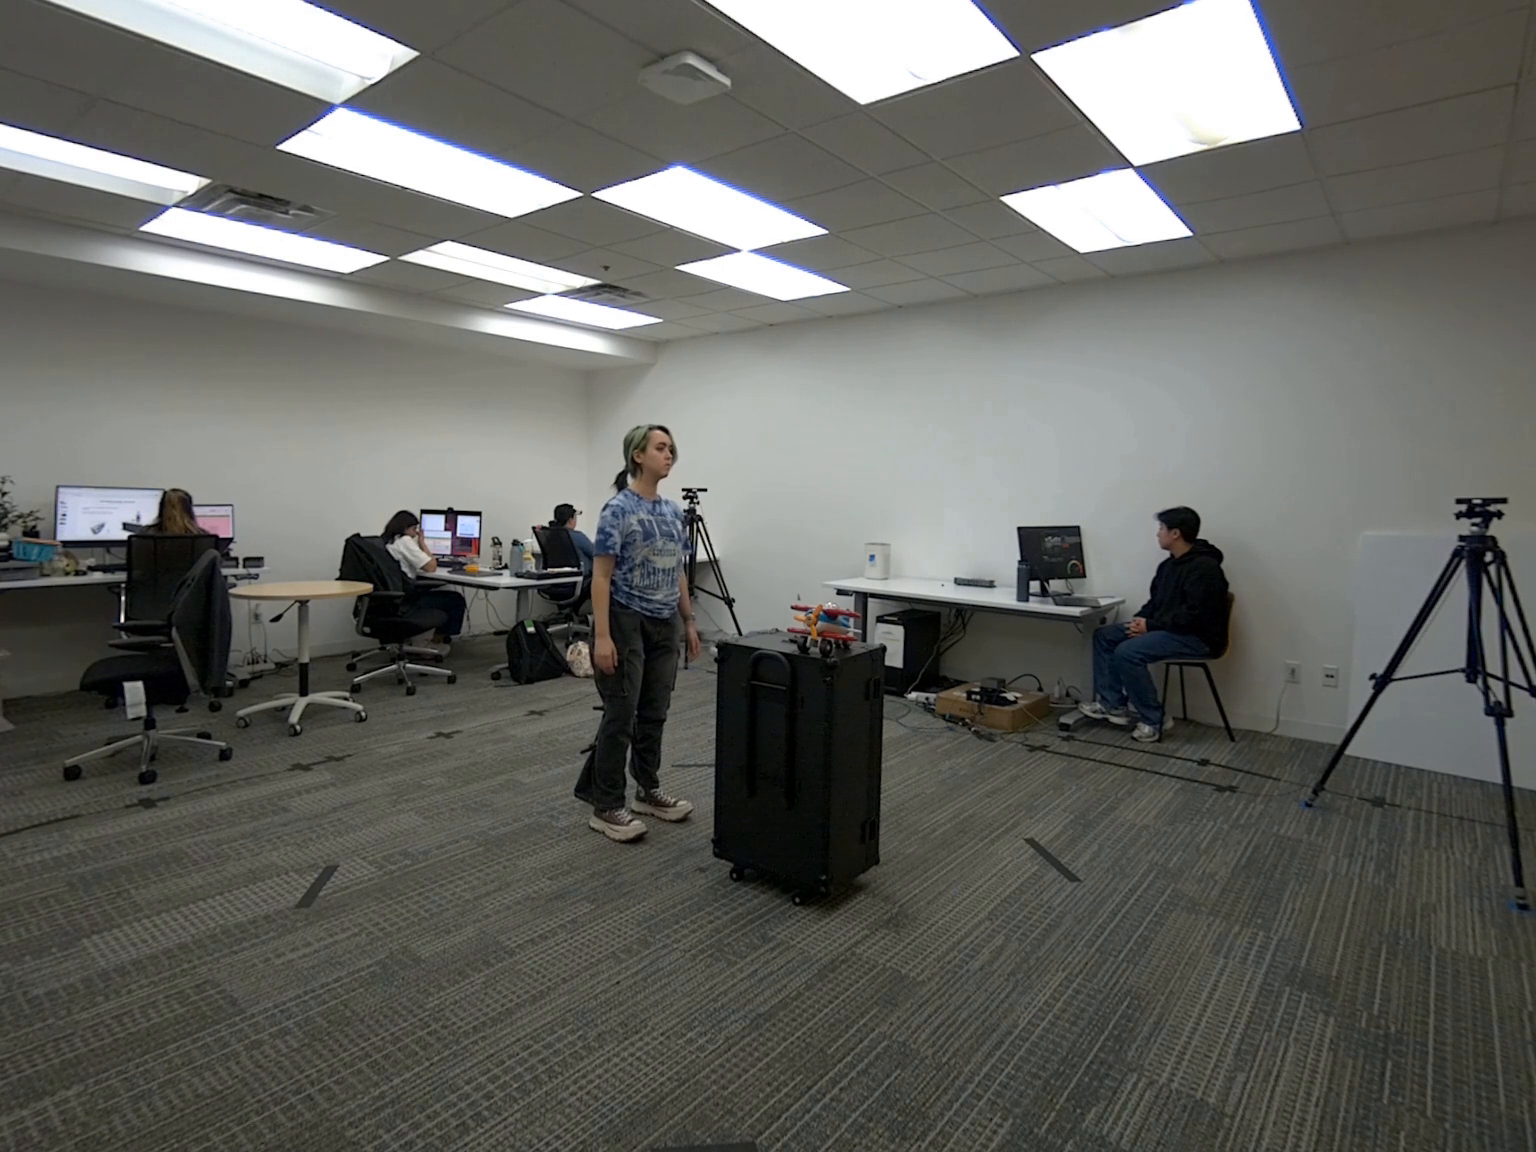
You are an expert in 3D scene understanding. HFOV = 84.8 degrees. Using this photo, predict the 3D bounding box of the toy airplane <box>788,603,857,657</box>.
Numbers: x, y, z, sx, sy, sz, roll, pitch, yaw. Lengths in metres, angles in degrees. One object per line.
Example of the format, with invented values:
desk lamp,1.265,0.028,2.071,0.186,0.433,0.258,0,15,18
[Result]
toy airplane,0.184,0.172,2.907,0.254,0.156,0.258,0,6,9
